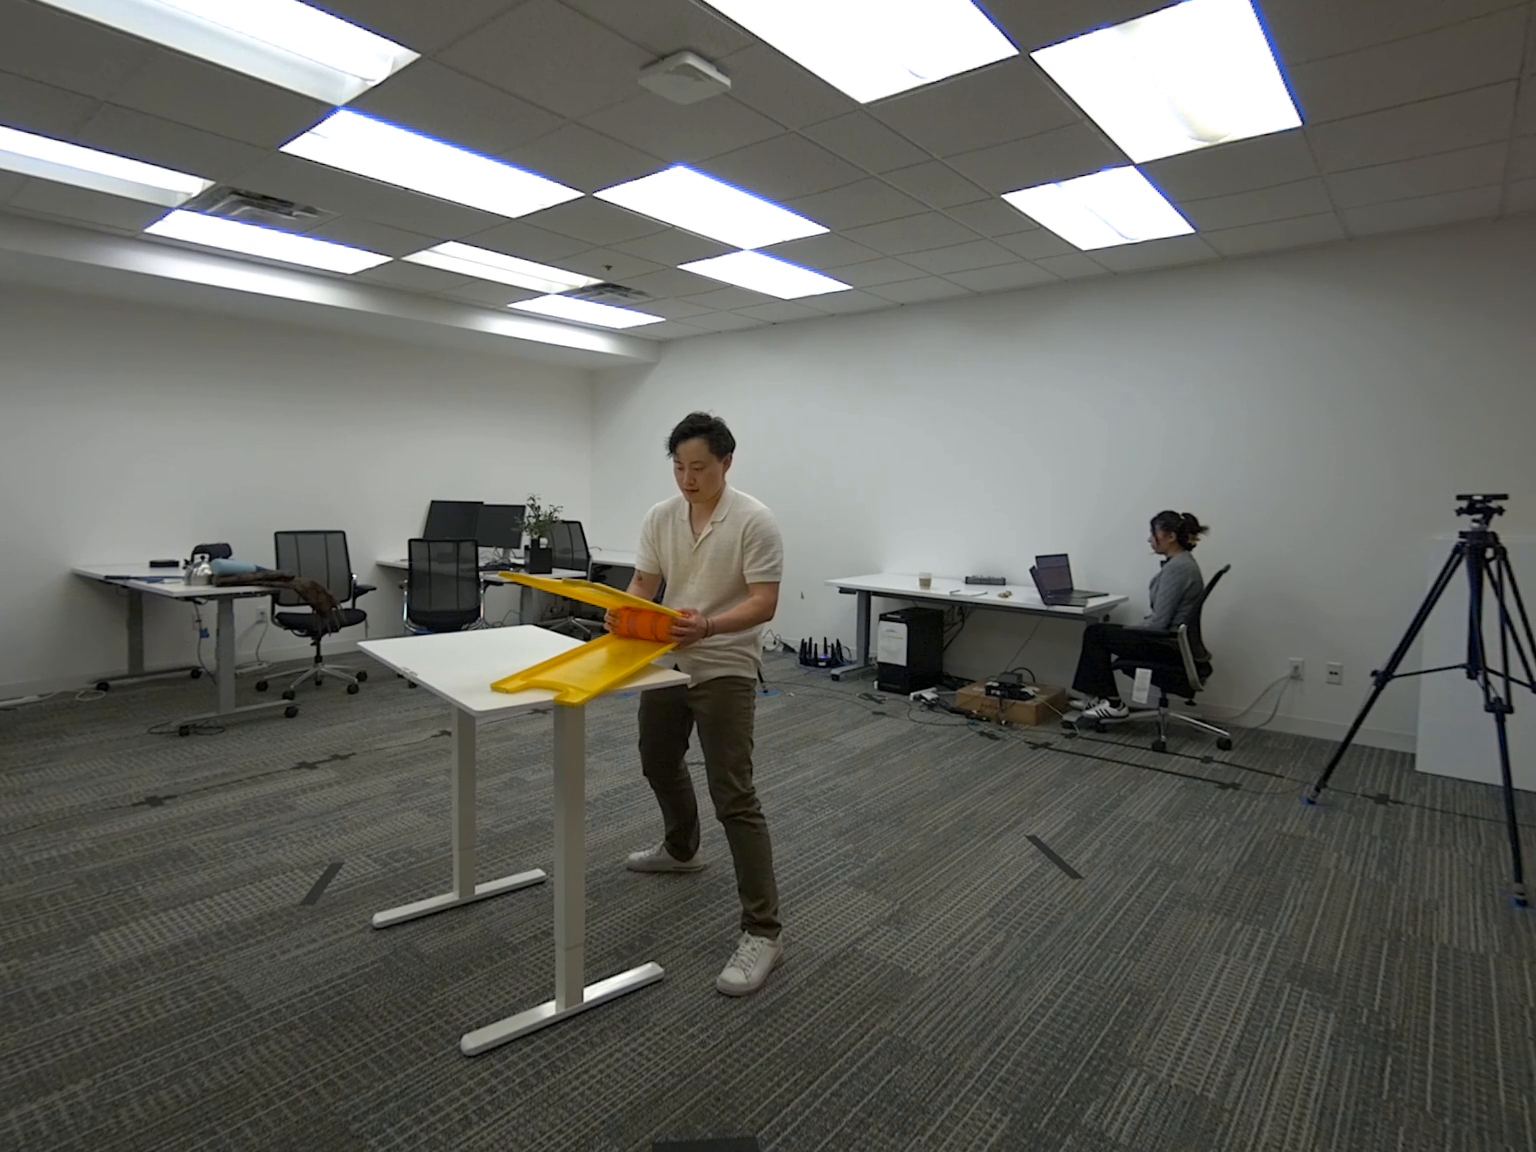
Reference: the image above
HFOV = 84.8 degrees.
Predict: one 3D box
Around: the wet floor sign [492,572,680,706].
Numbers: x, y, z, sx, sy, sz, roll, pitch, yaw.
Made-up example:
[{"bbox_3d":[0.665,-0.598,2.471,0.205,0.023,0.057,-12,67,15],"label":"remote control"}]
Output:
[{"bbox_3d":[-0.430,0.139,2.325,0.290,0.289,0.629,4,2,26],"label":"wet floor sign"}]
